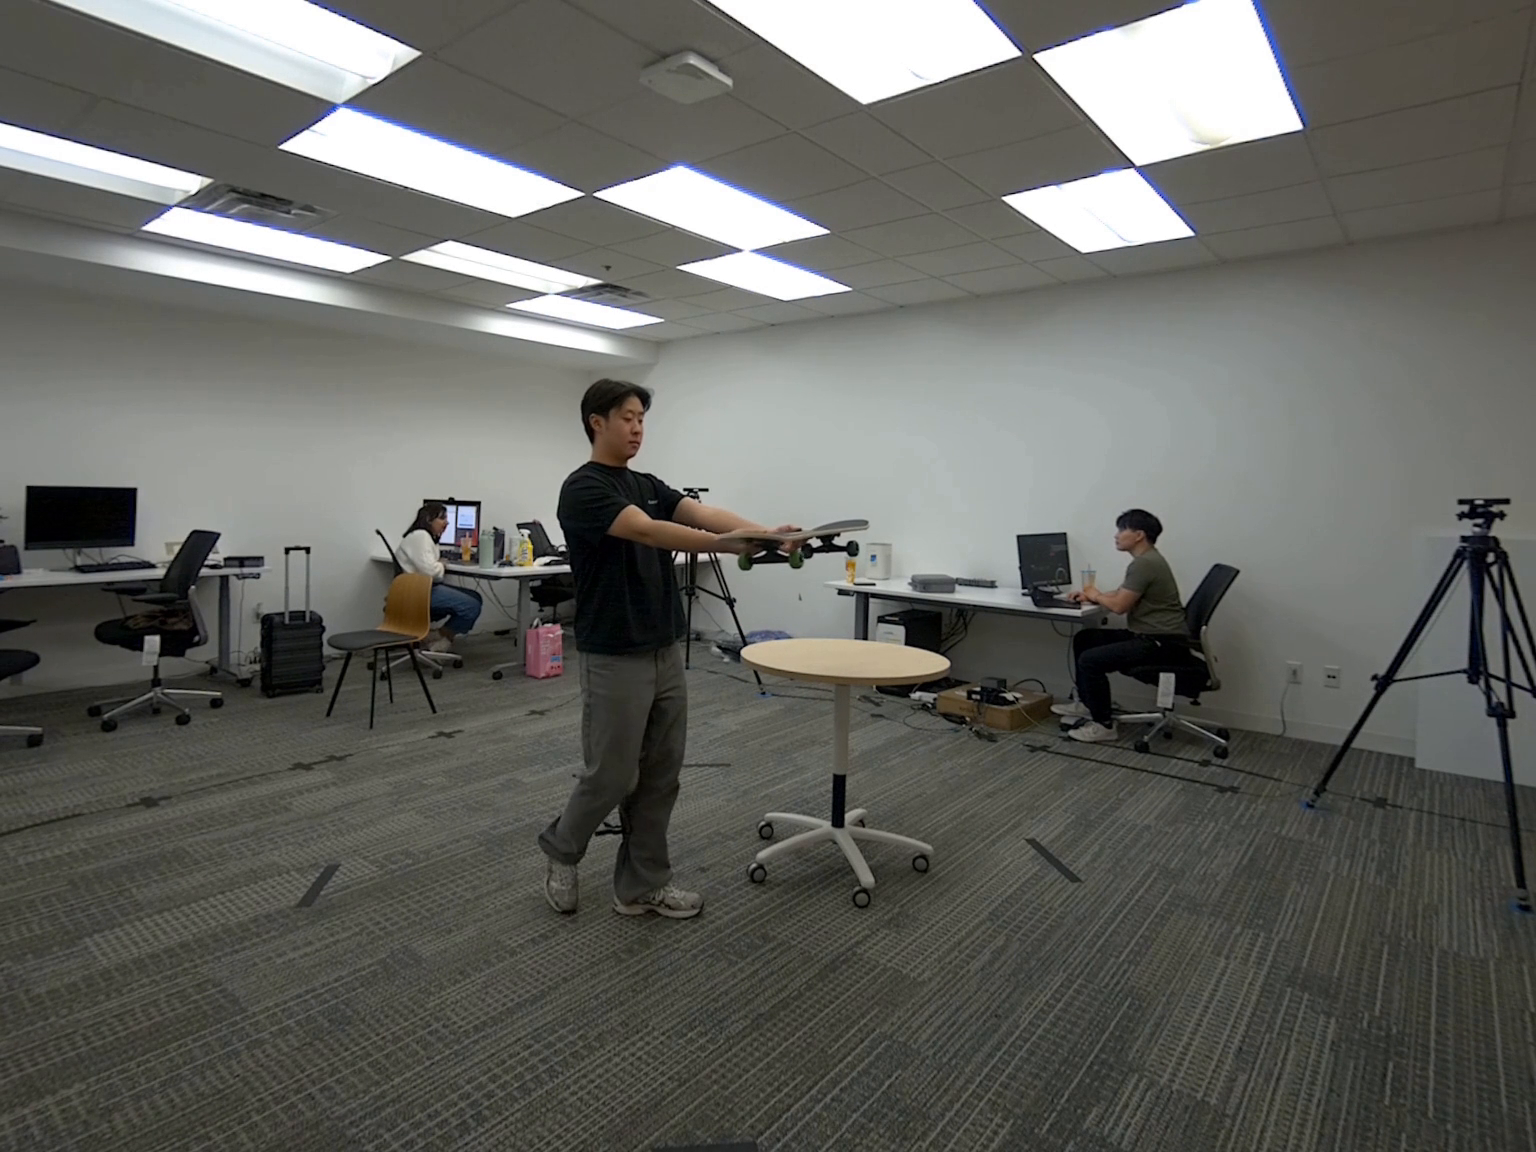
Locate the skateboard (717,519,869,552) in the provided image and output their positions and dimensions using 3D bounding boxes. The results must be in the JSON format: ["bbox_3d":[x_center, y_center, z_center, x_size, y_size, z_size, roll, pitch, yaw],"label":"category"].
[{"bbox_3d":[0.094,-0.094,2.457,0.198,0.110,0.767,-2,5,29],"label":"skateboard"}]
